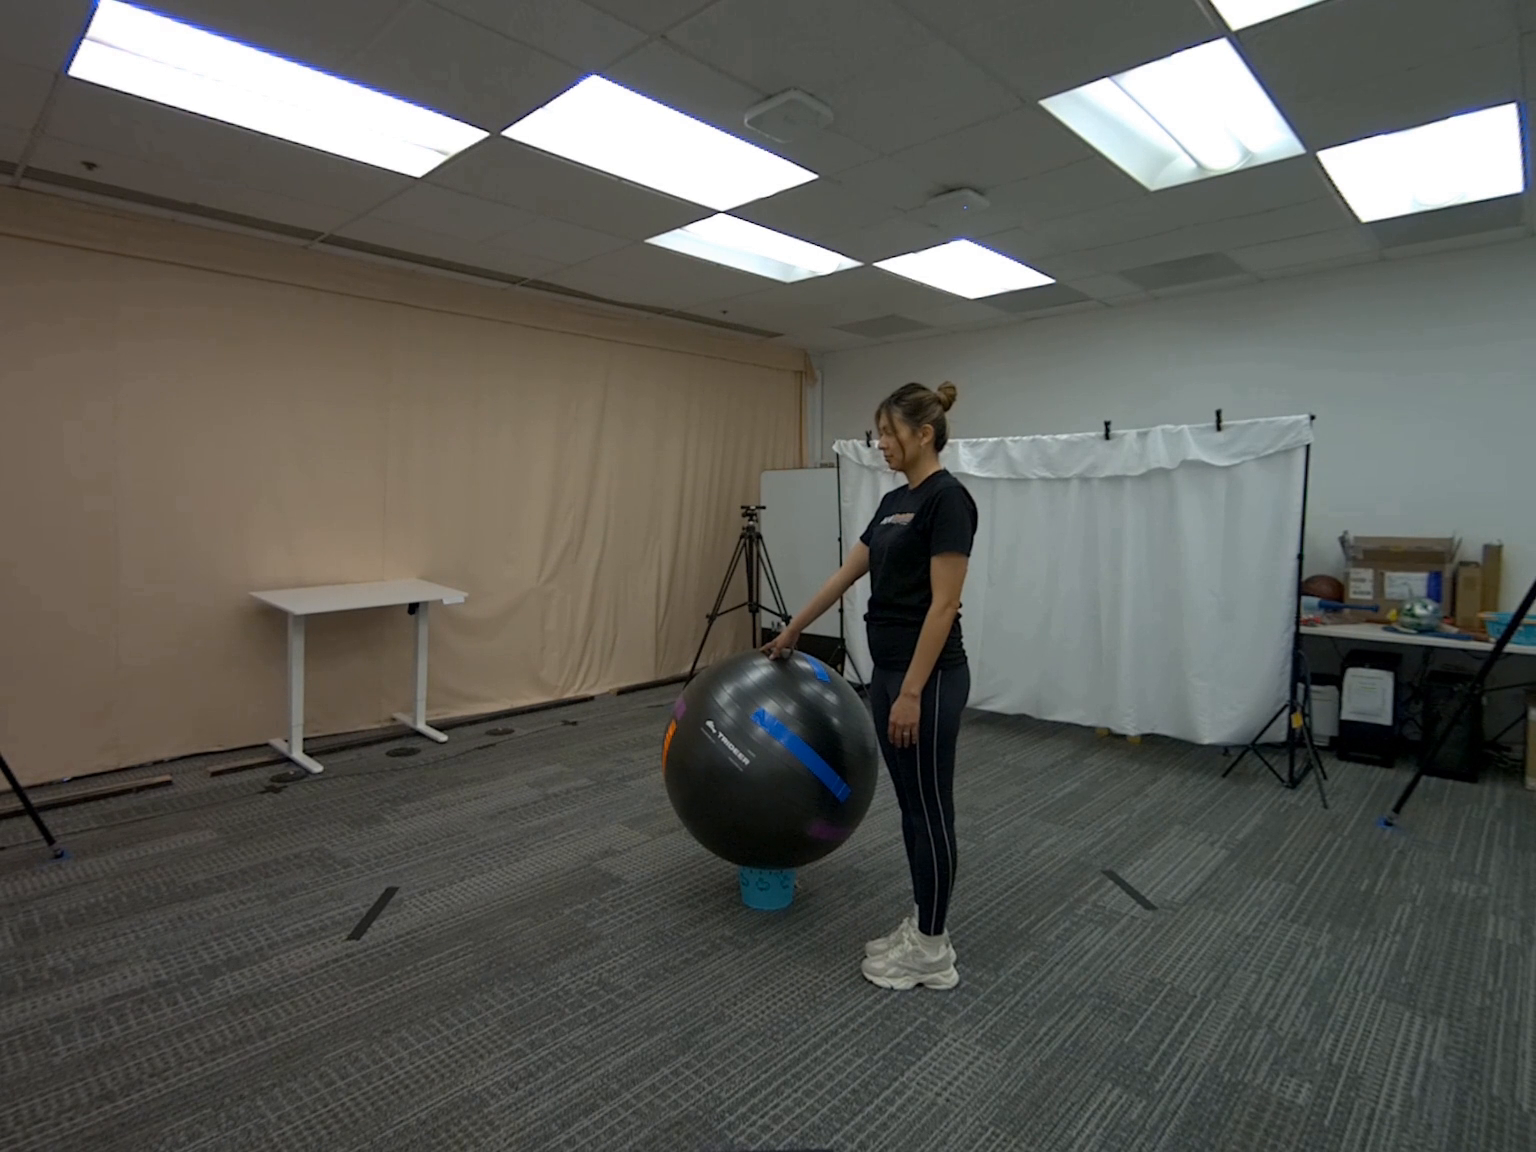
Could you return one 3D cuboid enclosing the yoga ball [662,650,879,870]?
[{"bbox_3d":[0.010,0.639,2.964,0.757,0.756,0.760,0,4,-2],"label":"yoga ball"}]
